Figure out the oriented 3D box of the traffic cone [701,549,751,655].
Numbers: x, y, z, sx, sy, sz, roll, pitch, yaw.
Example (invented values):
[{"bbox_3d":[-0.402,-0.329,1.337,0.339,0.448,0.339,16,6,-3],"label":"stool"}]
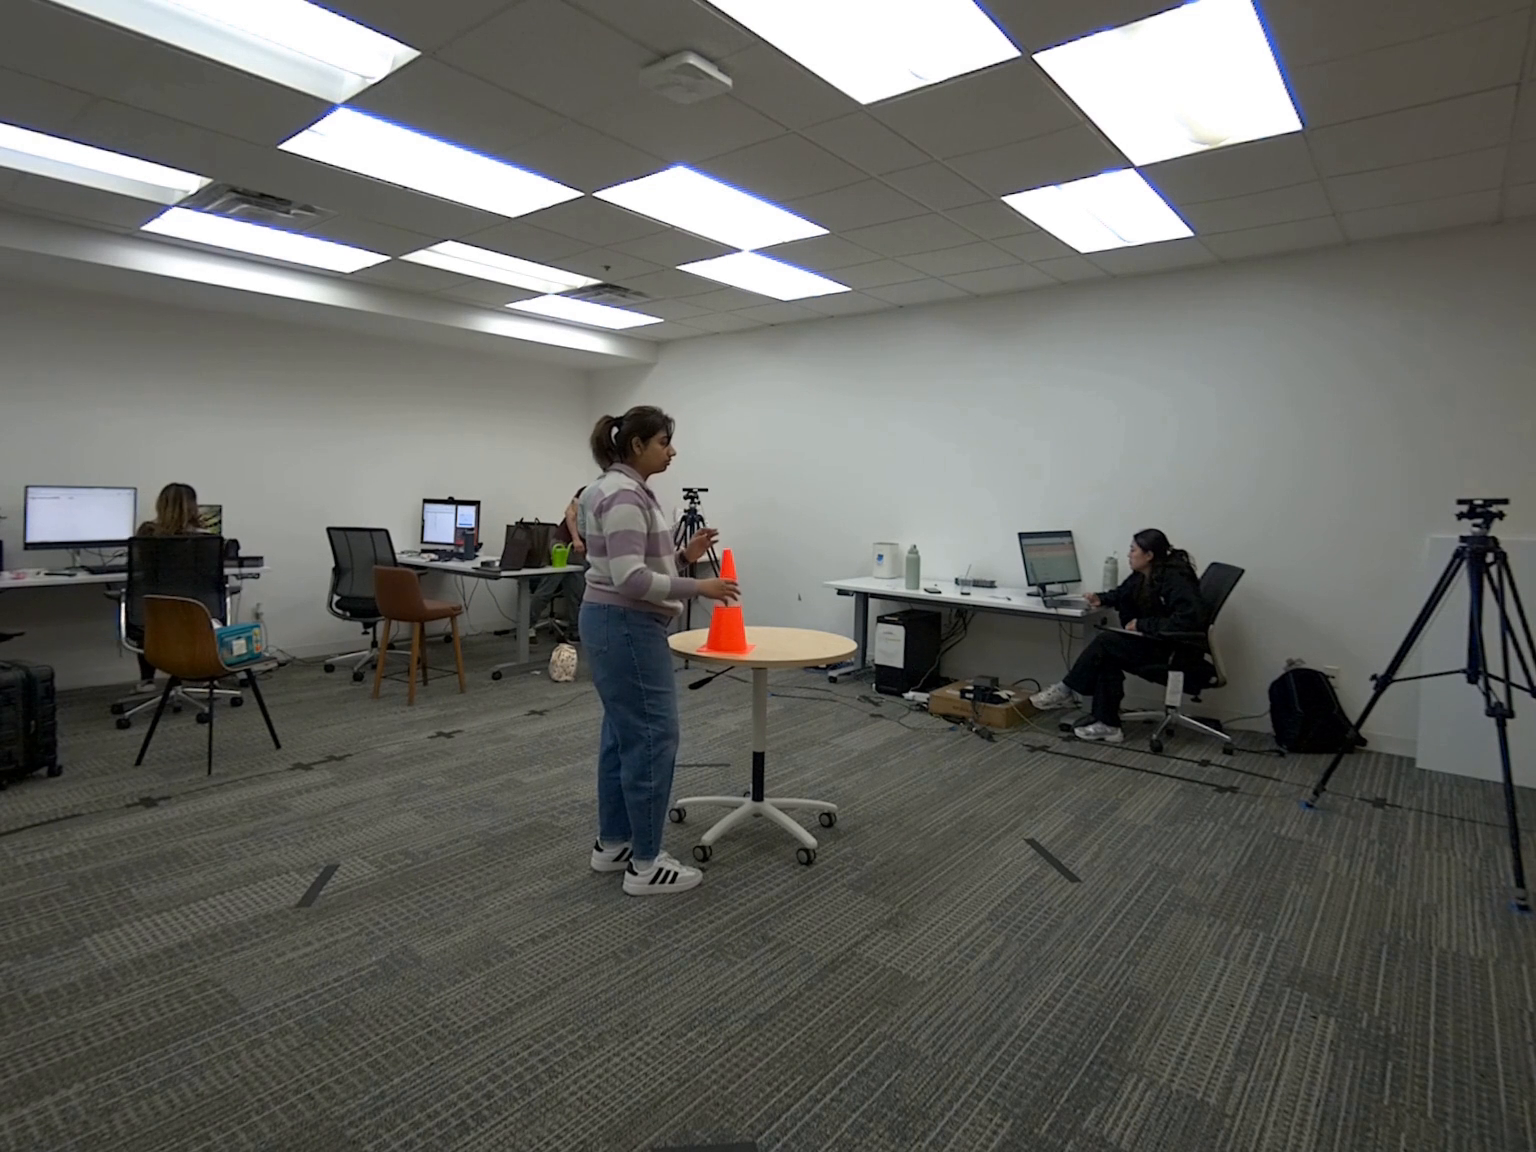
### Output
[{"bbox_3d":[-0.171,0.088,3.230,0.208,0.382,0.202,1,5,11],"label":"traffic cone"}]
